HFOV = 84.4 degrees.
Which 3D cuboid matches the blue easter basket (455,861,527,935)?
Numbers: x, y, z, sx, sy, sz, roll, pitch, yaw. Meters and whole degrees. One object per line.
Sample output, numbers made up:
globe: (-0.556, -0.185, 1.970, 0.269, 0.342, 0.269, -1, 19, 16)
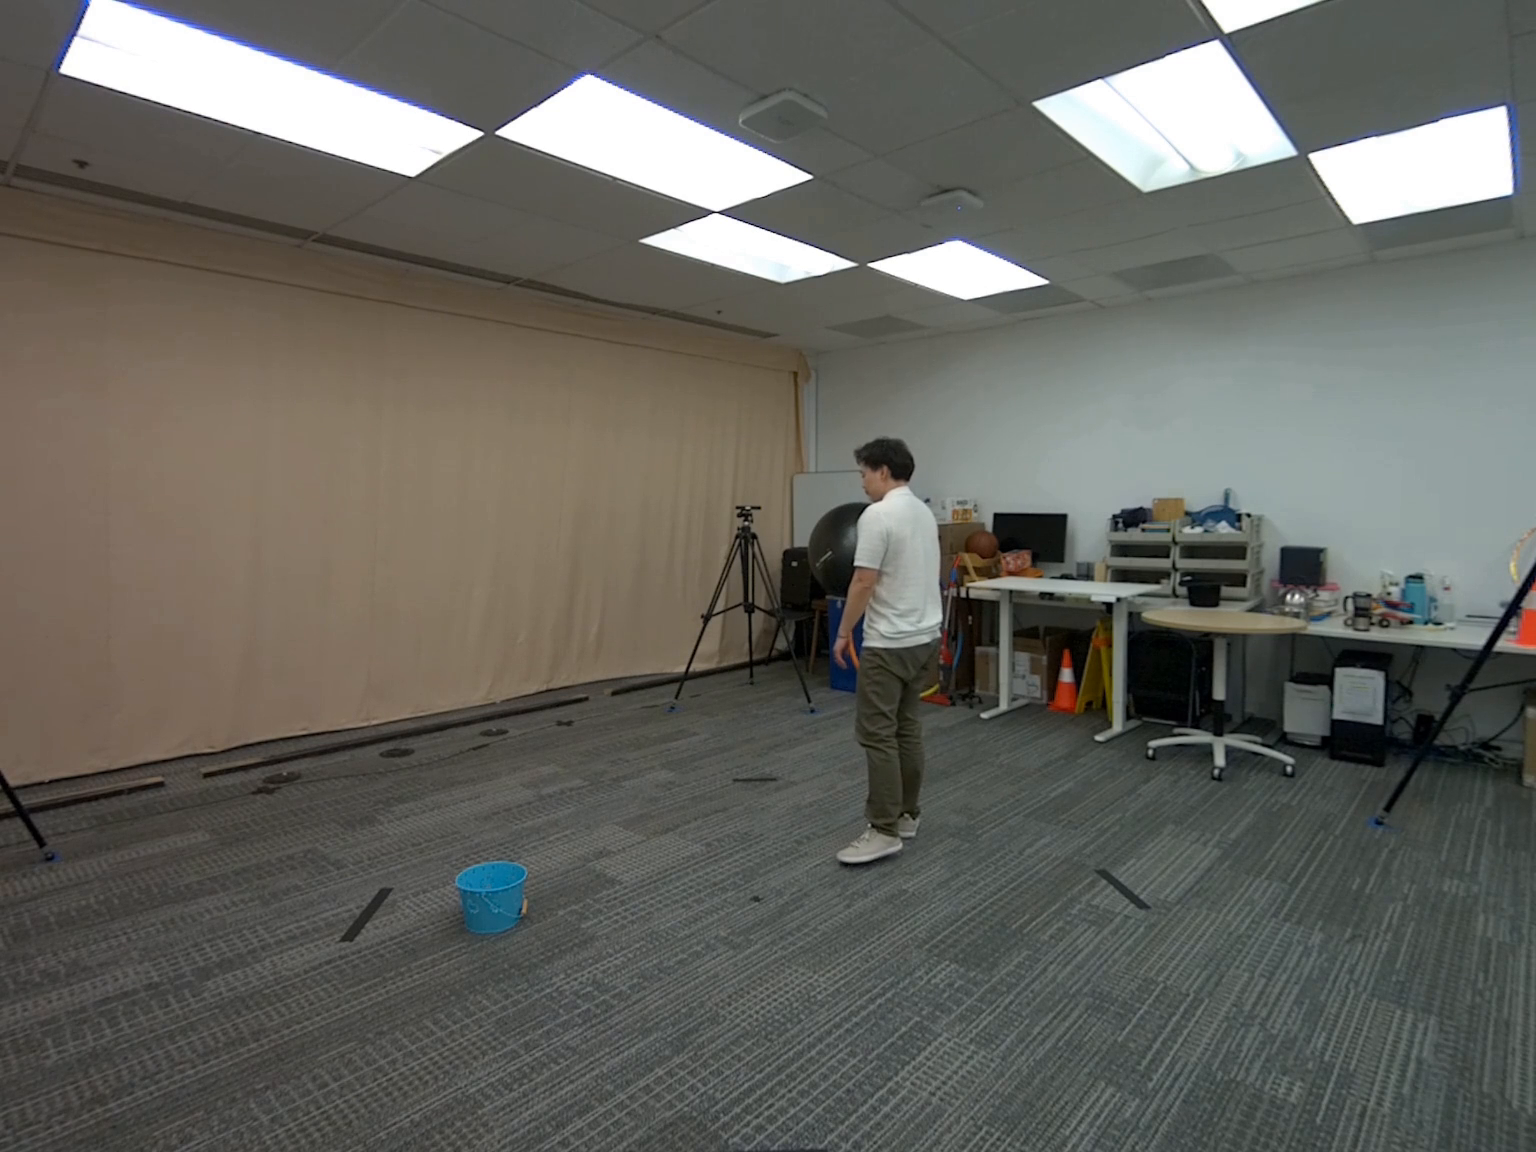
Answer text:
blue easter basket: (-0.926, 1.091, 2.833, 0.243, 0.155, 0.244, 0, 4, -2)
